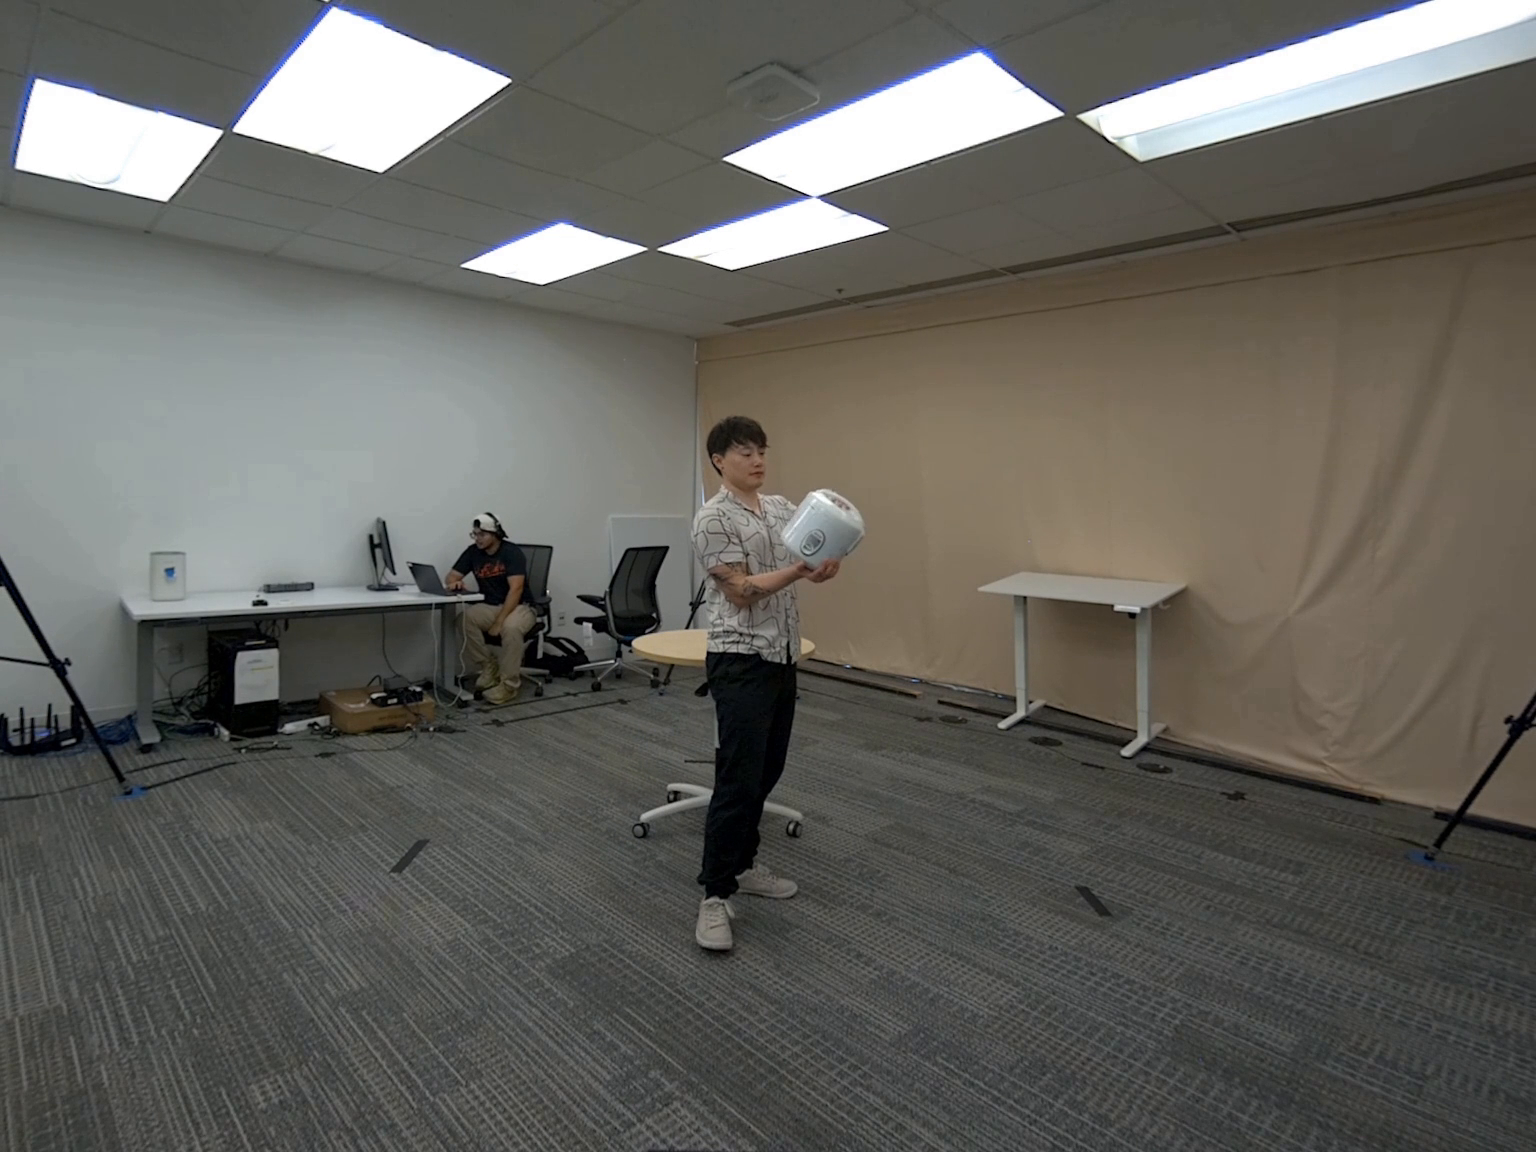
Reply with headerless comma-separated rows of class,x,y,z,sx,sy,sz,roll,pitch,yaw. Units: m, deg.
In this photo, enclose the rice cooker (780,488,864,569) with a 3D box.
rice cooker,0.172,-0.144,2.624,0.222,0.232,0.216,36,11,5
